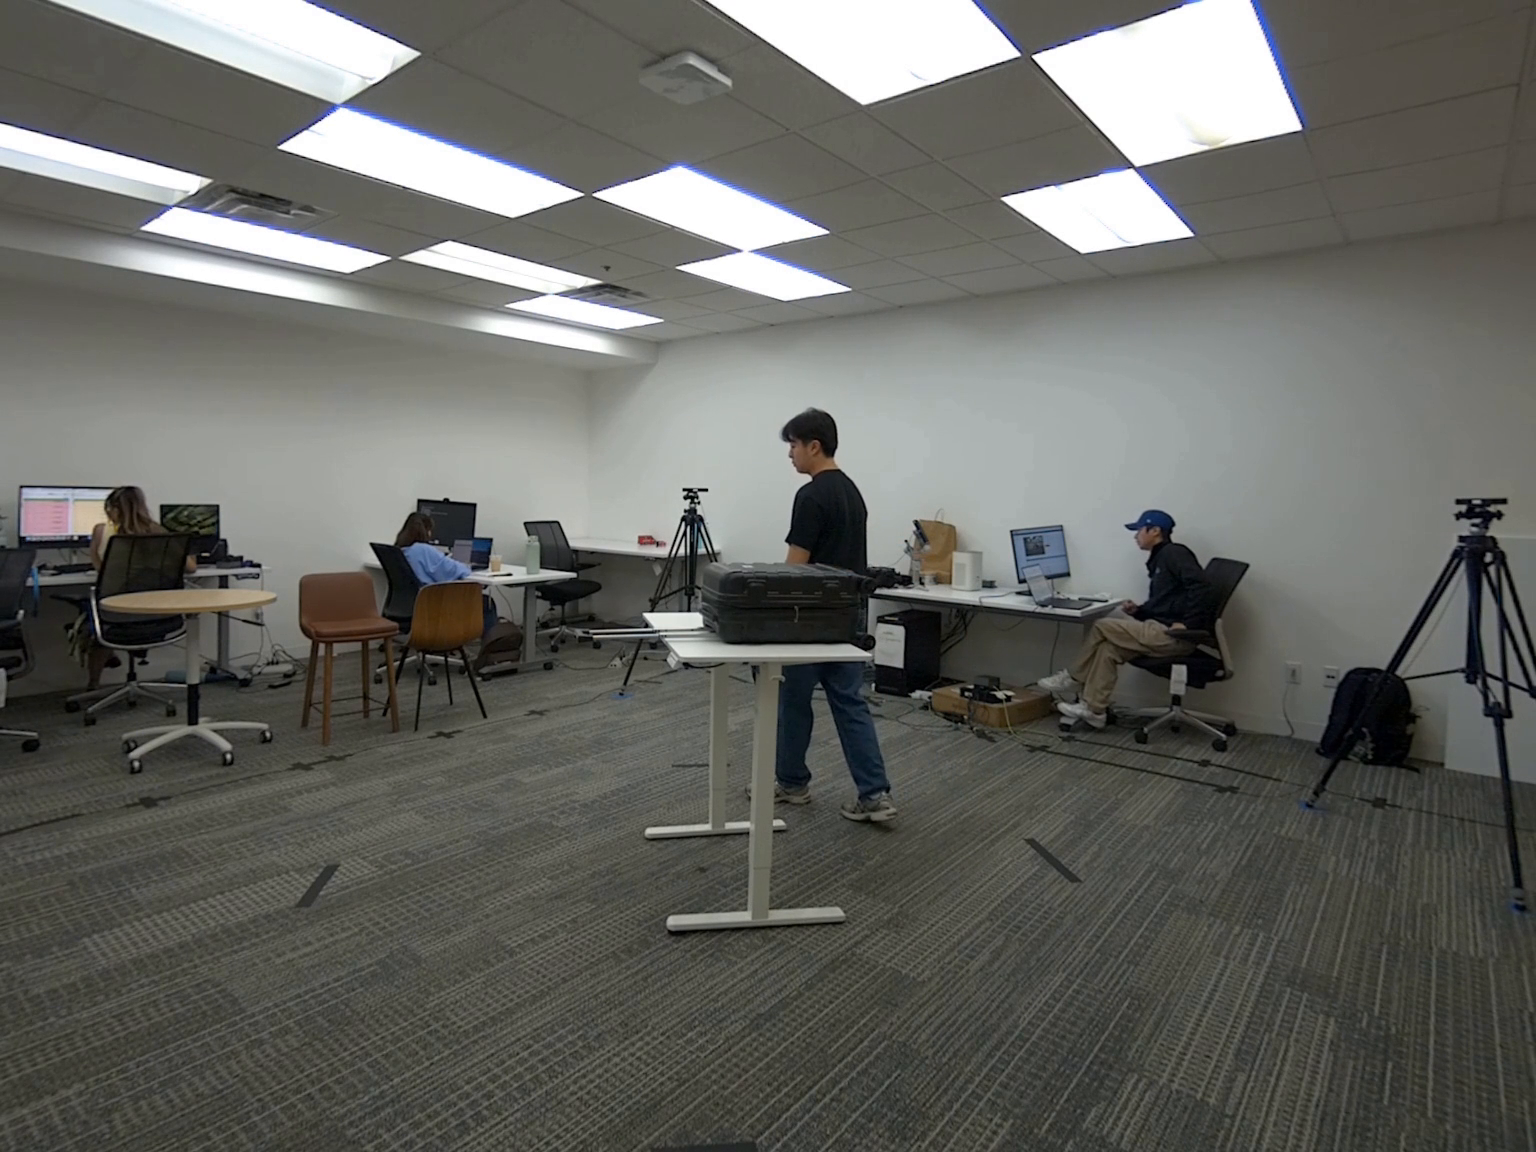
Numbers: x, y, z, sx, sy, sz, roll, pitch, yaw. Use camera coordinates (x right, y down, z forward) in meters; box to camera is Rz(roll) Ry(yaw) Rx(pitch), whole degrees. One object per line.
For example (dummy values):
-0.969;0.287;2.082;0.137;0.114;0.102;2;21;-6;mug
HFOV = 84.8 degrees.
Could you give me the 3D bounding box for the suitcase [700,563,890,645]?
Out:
-0.154;0.085;2.890;0.964;0.256;0.391;2;5;-14;suitcase
